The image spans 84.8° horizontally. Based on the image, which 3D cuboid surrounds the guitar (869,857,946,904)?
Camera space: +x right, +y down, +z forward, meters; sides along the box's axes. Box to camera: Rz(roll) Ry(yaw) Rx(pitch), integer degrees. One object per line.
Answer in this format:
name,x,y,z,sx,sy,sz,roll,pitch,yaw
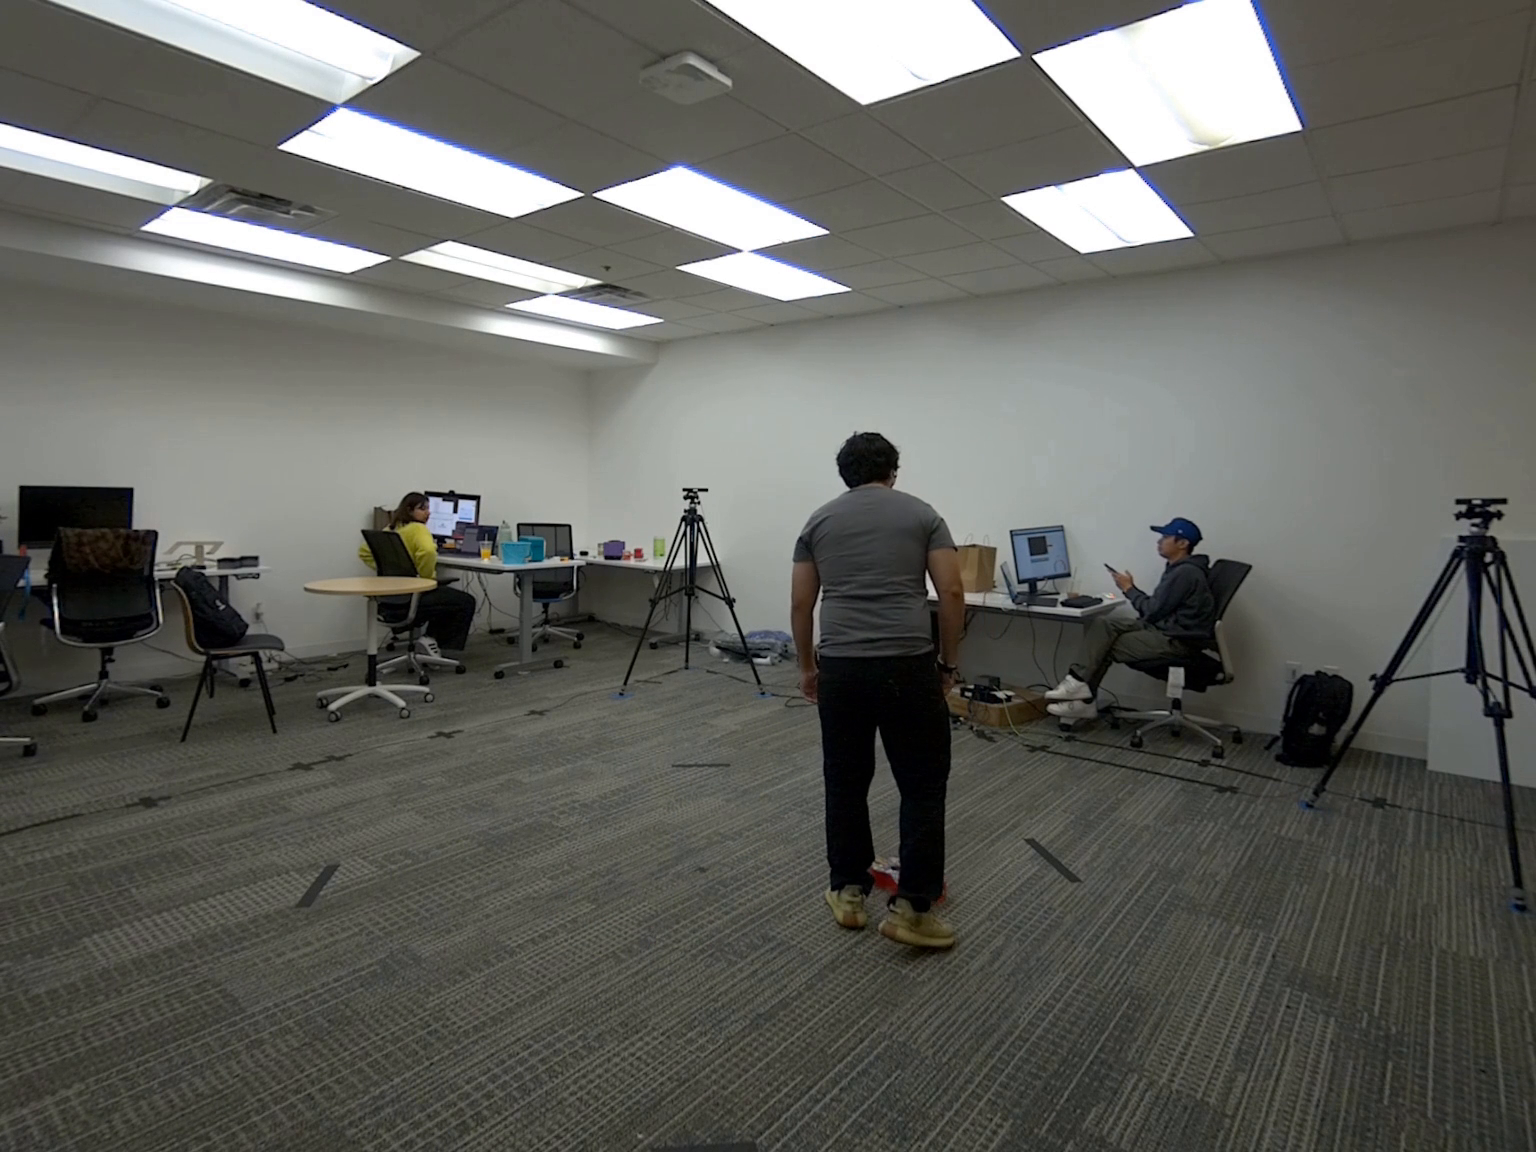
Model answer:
guitar,0.428,1.049,3.093,0.188,0.070,0.513,-2,6,-29
